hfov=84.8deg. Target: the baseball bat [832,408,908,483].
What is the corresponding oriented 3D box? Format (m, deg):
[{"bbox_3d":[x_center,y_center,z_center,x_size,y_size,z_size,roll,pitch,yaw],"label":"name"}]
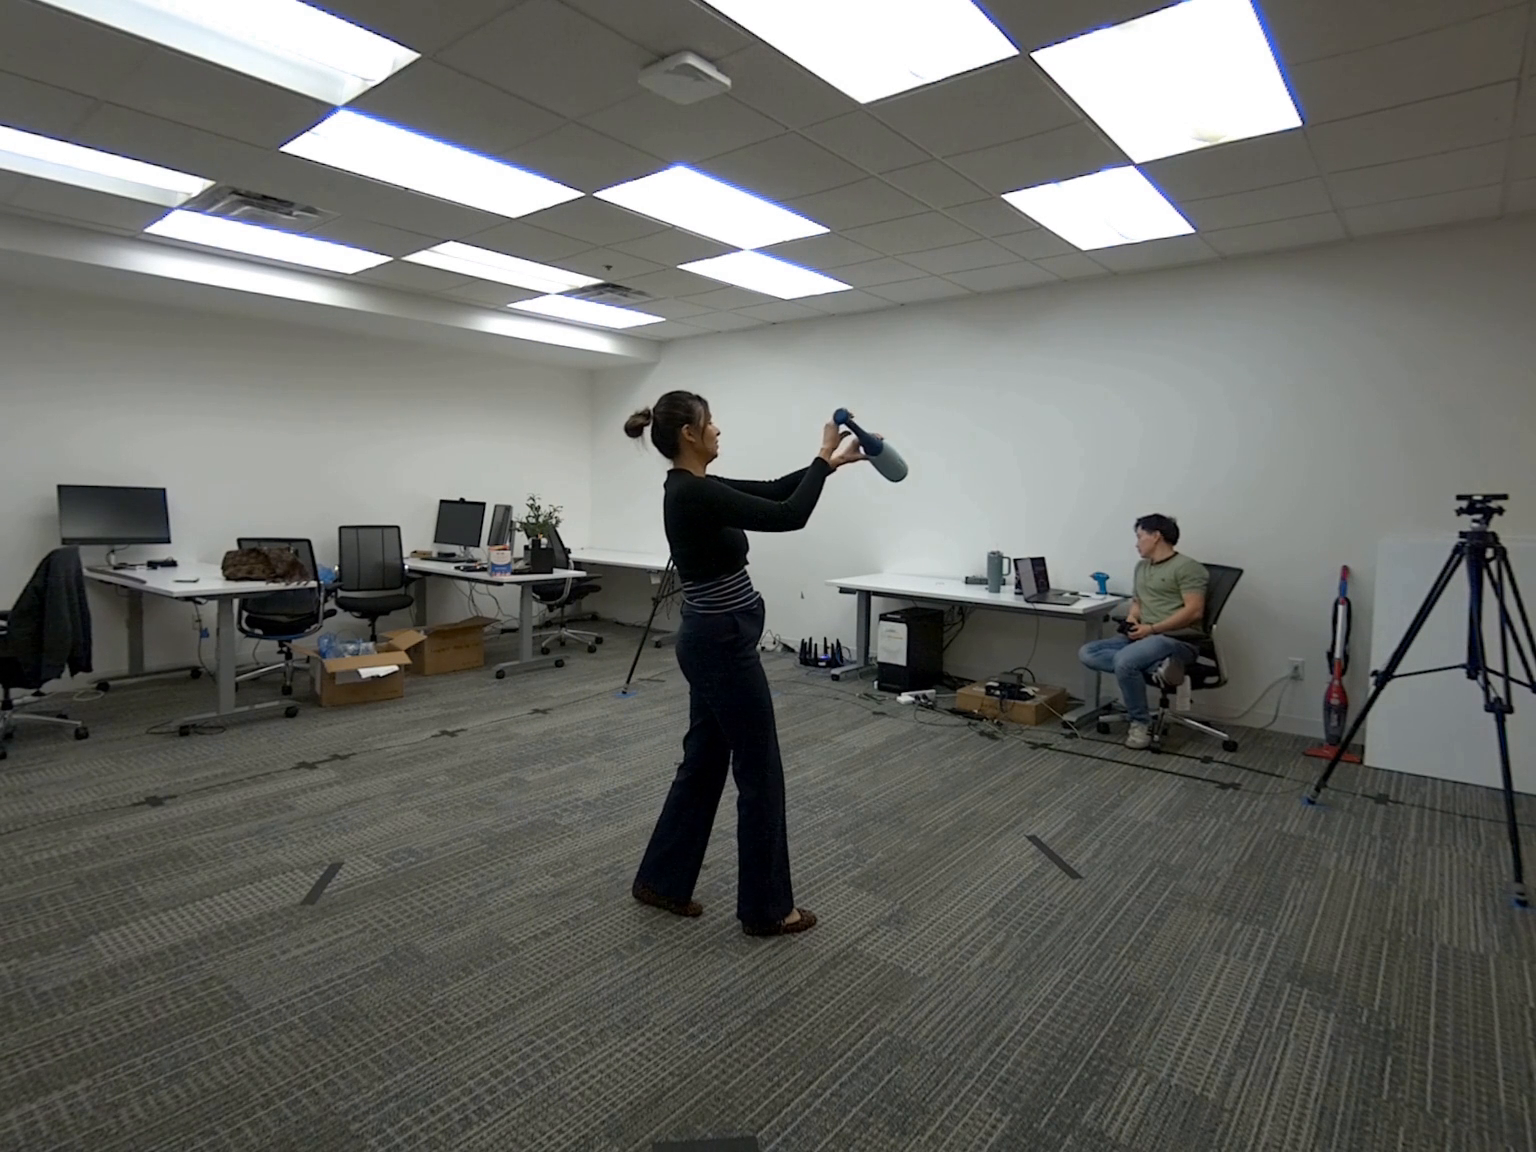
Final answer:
[{"bbox_3d":[0.319,-0.426,2.730,0.092,0.090,0.523,3,-11,29],"label":"baseball bat"}]
